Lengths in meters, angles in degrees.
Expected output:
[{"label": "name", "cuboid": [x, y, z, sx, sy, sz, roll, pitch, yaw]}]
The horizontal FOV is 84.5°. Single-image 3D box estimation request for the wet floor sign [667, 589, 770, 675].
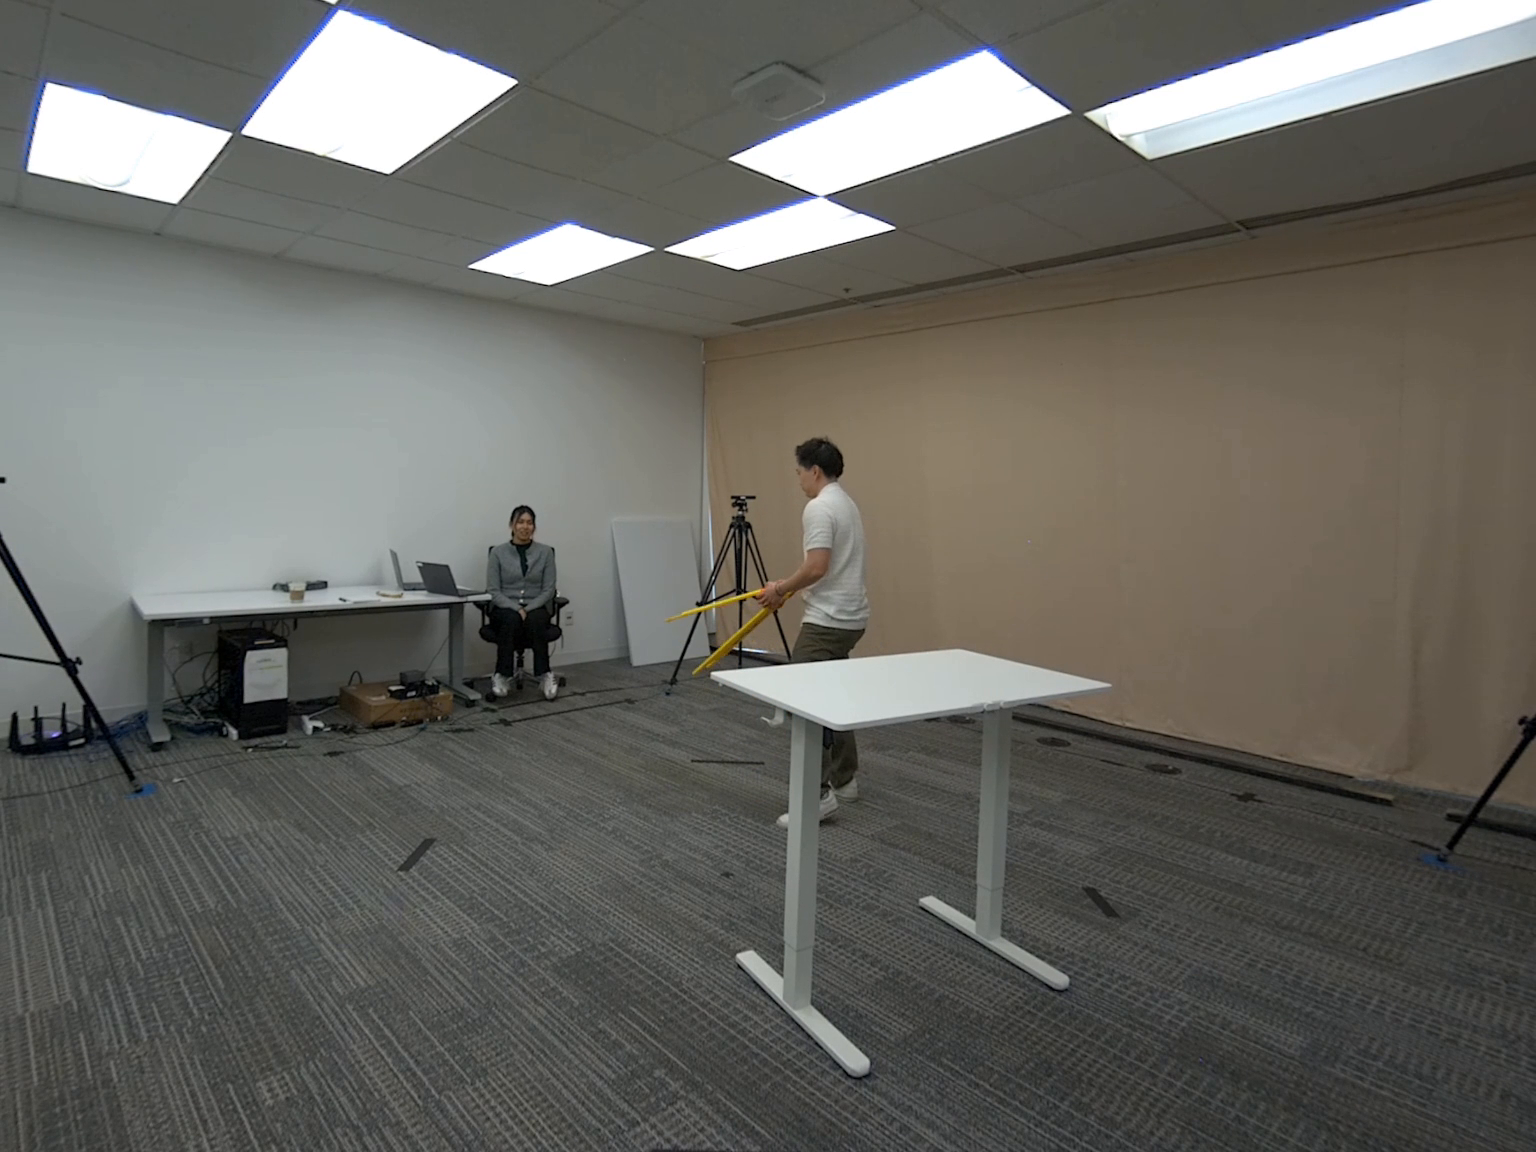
[{"label": "wet floor sign", "cuboid": [-0.131, 0.175, 3.986, 0.649, 0.292, 0.279, -30, -6, 16]}]
